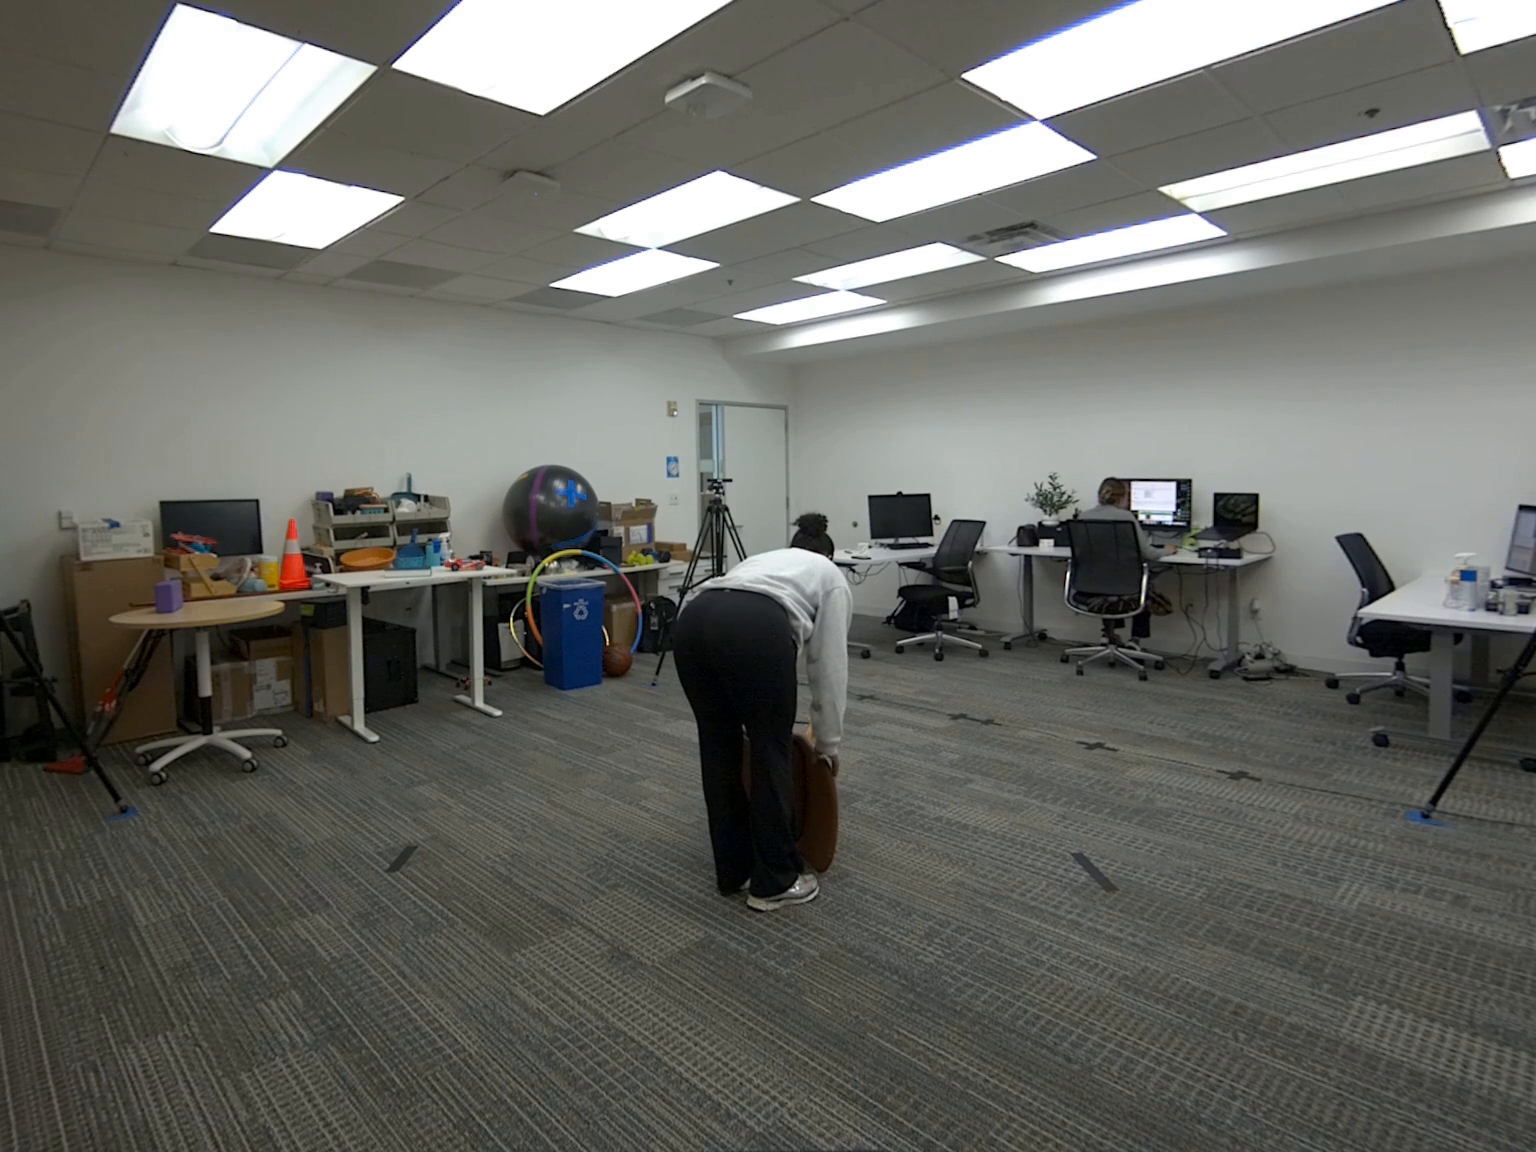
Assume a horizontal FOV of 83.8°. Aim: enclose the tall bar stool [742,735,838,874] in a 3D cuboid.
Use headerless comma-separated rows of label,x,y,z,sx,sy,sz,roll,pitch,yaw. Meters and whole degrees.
tall bar stool,0.007,0.798,3.374,0.468,0.455,0.890,2,4,1
